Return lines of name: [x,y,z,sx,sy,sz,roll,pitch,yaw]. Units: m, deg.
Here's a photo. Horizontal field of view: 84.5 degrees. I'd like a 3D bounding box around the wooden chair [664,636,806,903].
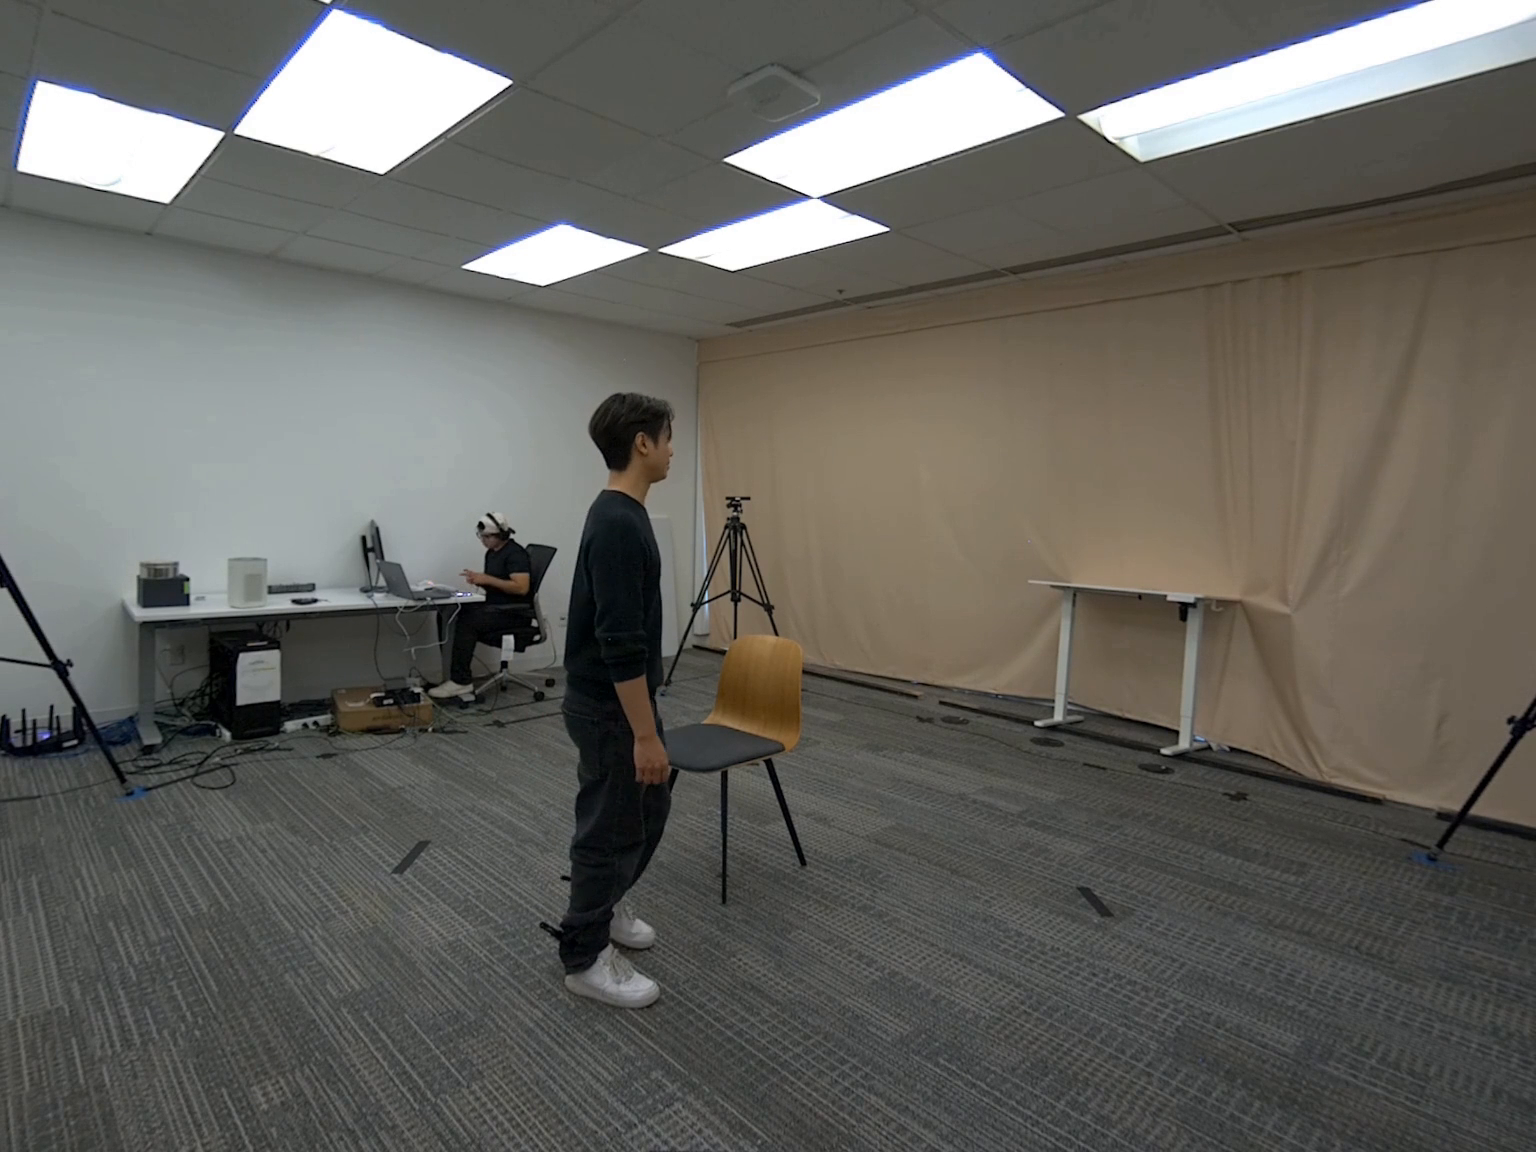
wooden chair: [-0.170,0.673,3.160,0.490,0.877,0.510,4,0,43]
